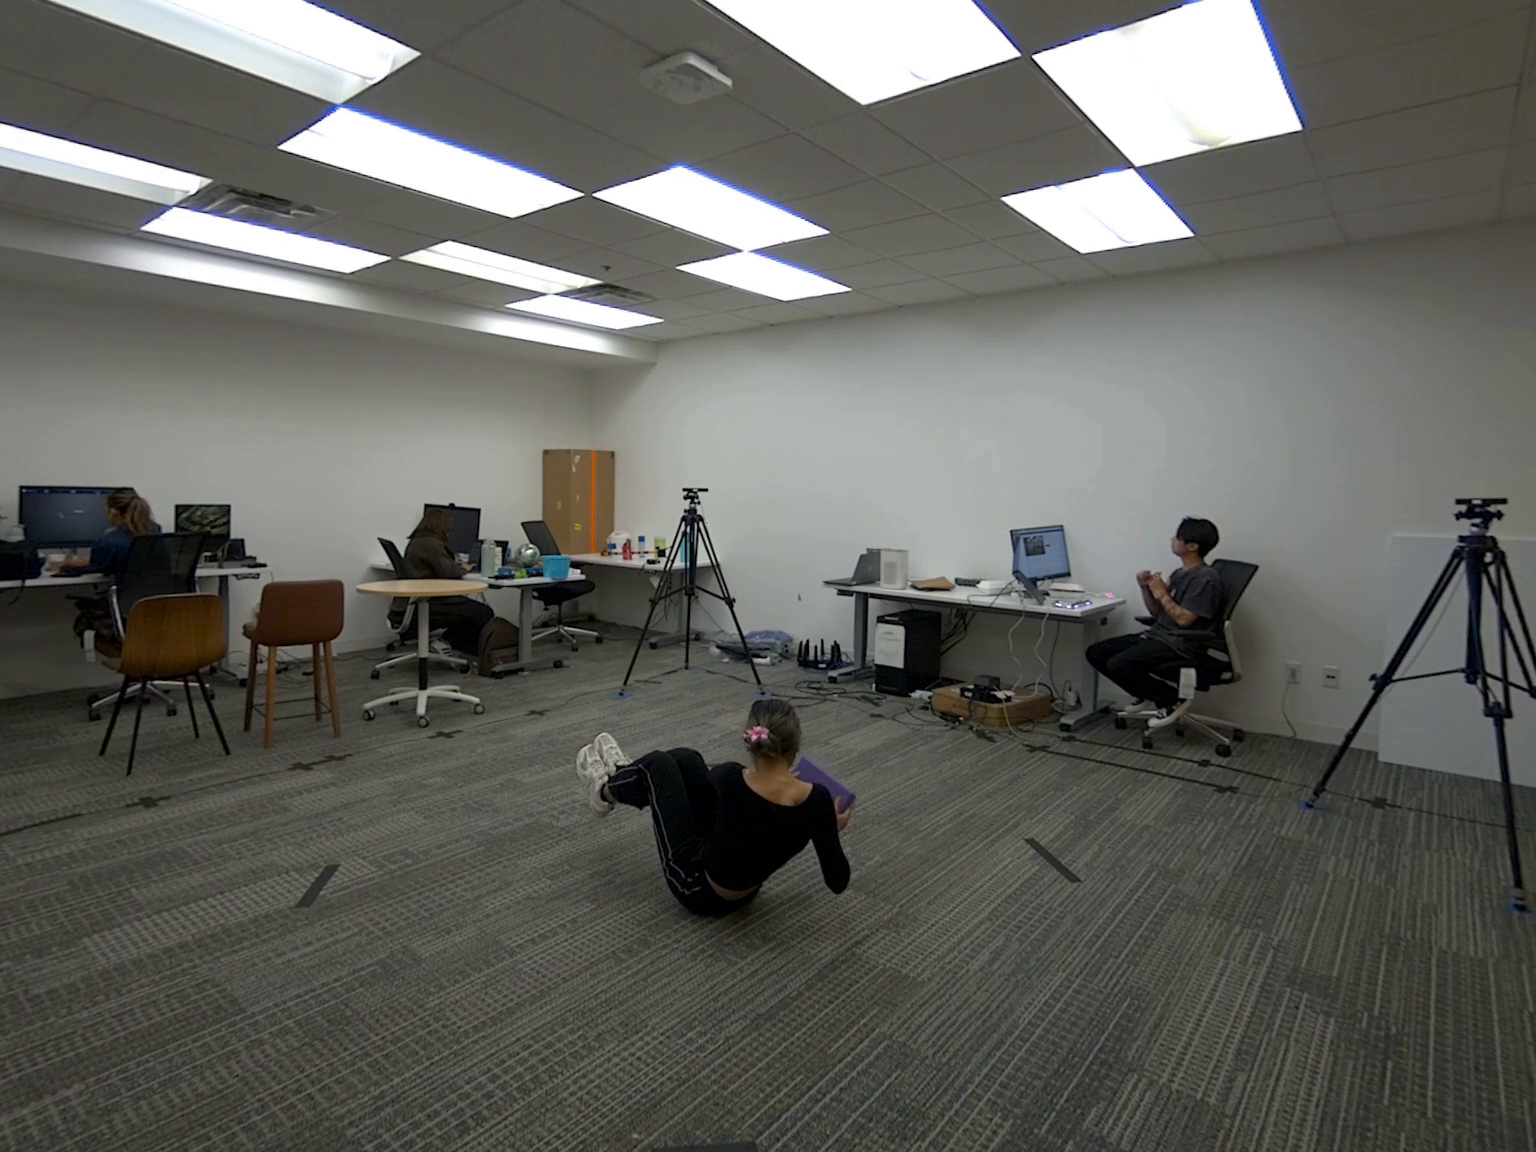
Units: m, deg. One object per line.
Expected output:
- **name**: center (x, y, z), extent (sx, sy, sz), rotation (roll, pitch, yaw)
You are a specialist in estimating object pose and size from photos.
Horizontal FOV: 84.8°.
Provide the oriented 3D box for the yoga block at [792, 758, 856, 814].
- **yoga block**: center (0.169, 0.763, 3.025), extent (0.237, 0.149, 0.074), rotation (32, -10, 26)
